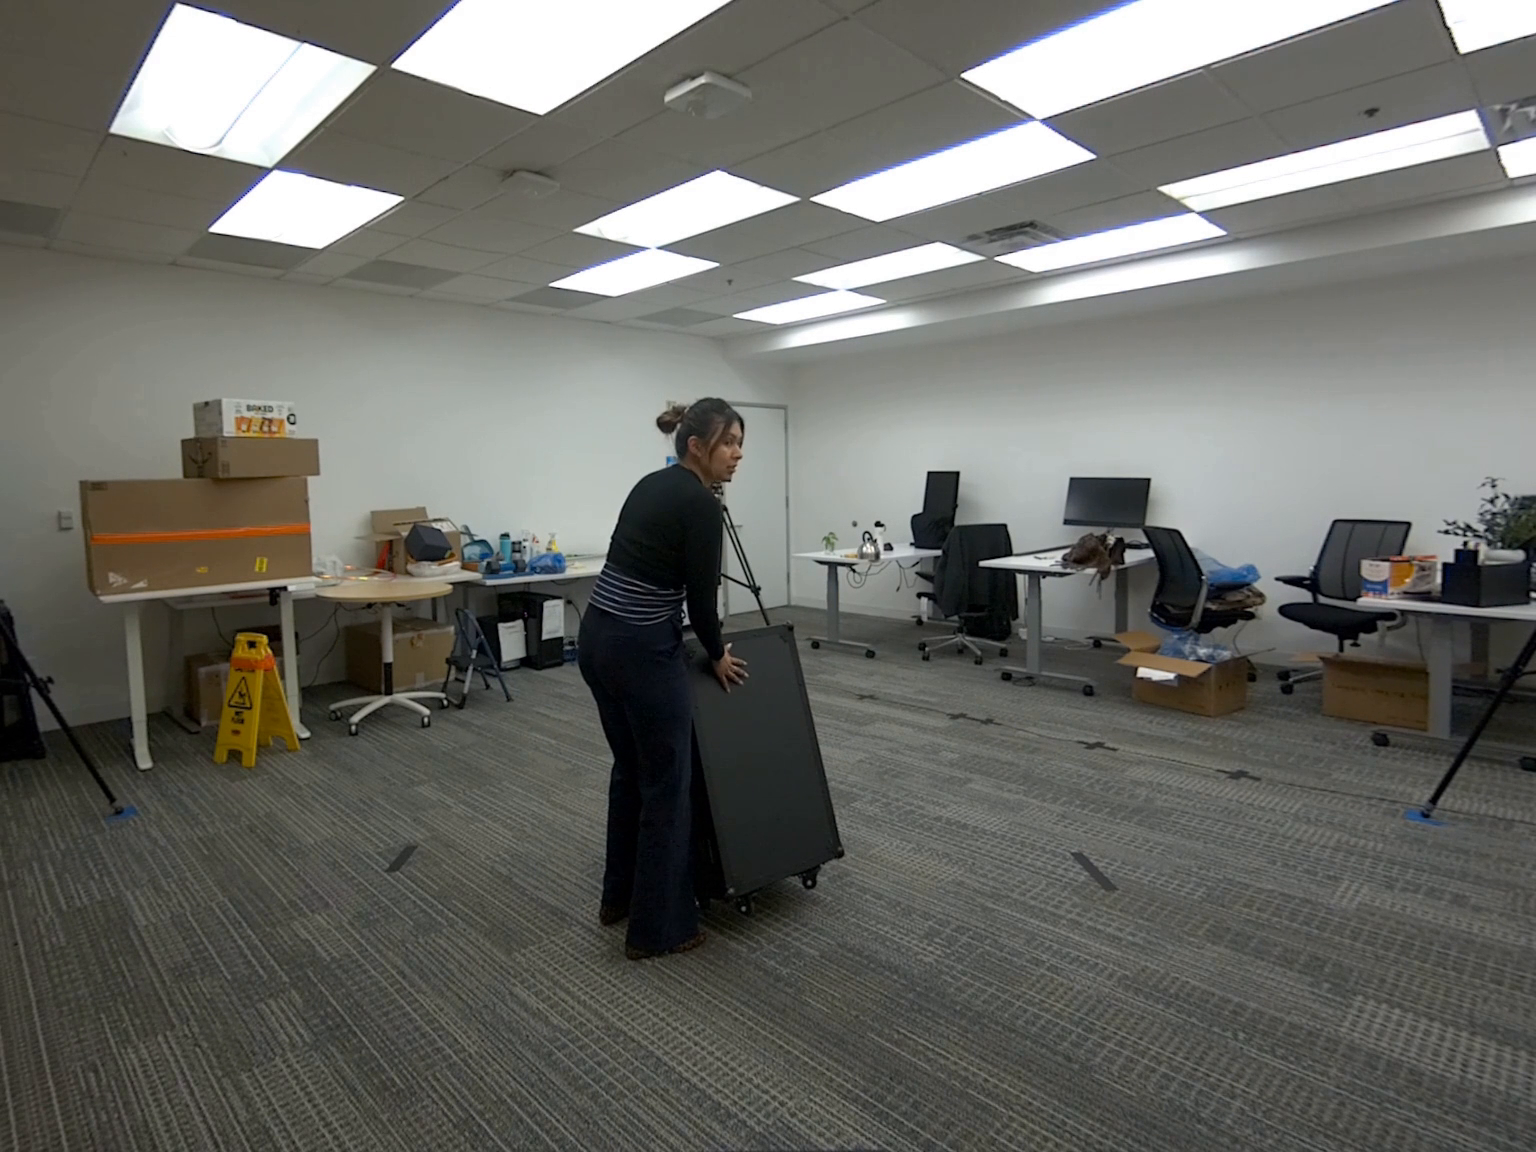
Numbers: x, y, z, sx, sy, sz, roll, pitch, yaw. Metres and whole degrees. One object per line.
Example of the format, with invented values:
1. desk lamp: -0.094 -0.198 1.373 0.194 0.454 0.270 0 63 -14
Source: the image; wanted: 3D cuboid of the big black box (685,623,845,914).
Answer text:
1. big black box: -0.125 0.577 2.894 0.508 0.871 0.402 -5 -12 -37
